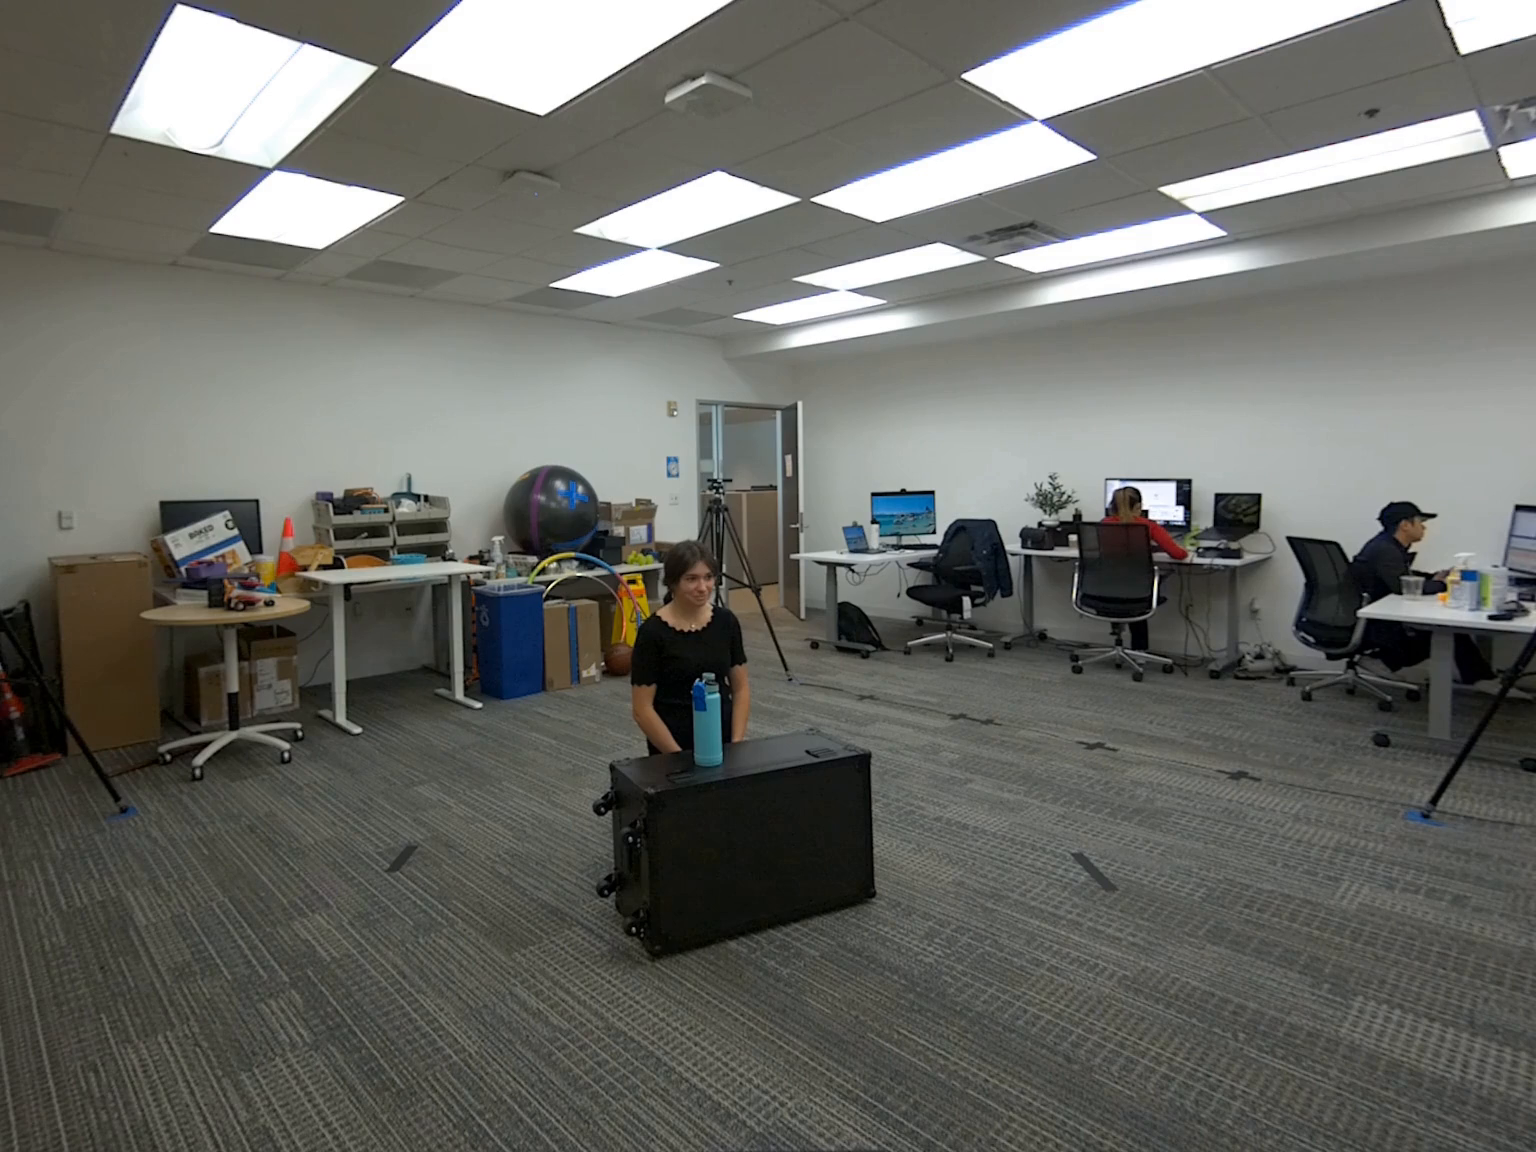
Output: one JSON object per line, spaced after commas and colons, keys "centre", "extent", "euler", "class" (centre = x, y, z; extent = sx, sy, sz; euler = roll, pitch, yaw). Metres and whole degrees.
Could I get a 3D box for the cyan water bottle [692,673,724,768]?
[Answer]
{"centre": [-0.197, 0.466, 2.746], "extent": [0.092, 0.282, 0.093], "euler": [-1, 3, -2], "class": "cyan water bottle"}
